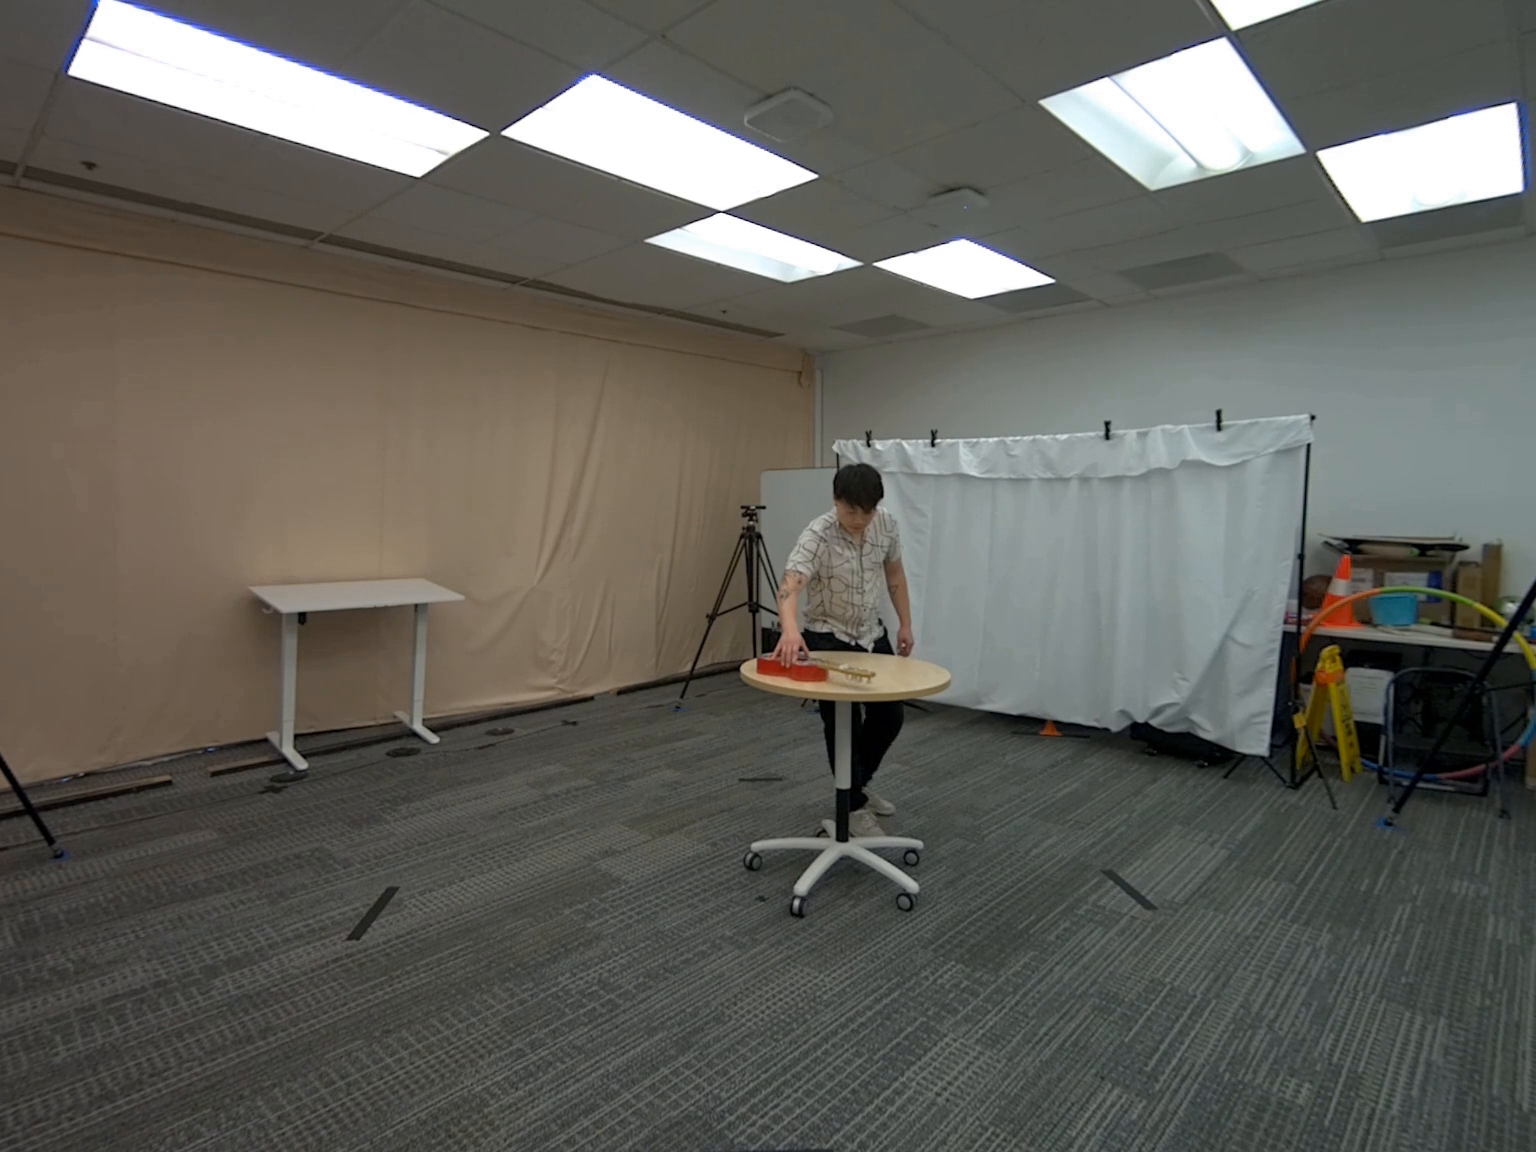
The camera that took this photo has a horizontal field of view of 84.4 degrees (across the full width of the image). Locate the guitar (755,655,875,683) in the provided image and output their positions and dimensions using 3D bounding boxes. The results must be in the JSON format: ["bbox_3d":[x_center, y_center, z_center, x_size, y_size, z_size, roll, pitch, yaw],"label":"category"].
[{"bbox_3d":[0.154,0.333,2.924,0.188,0.070,0.513,-3,6,-31],"label":"guitar"}]
